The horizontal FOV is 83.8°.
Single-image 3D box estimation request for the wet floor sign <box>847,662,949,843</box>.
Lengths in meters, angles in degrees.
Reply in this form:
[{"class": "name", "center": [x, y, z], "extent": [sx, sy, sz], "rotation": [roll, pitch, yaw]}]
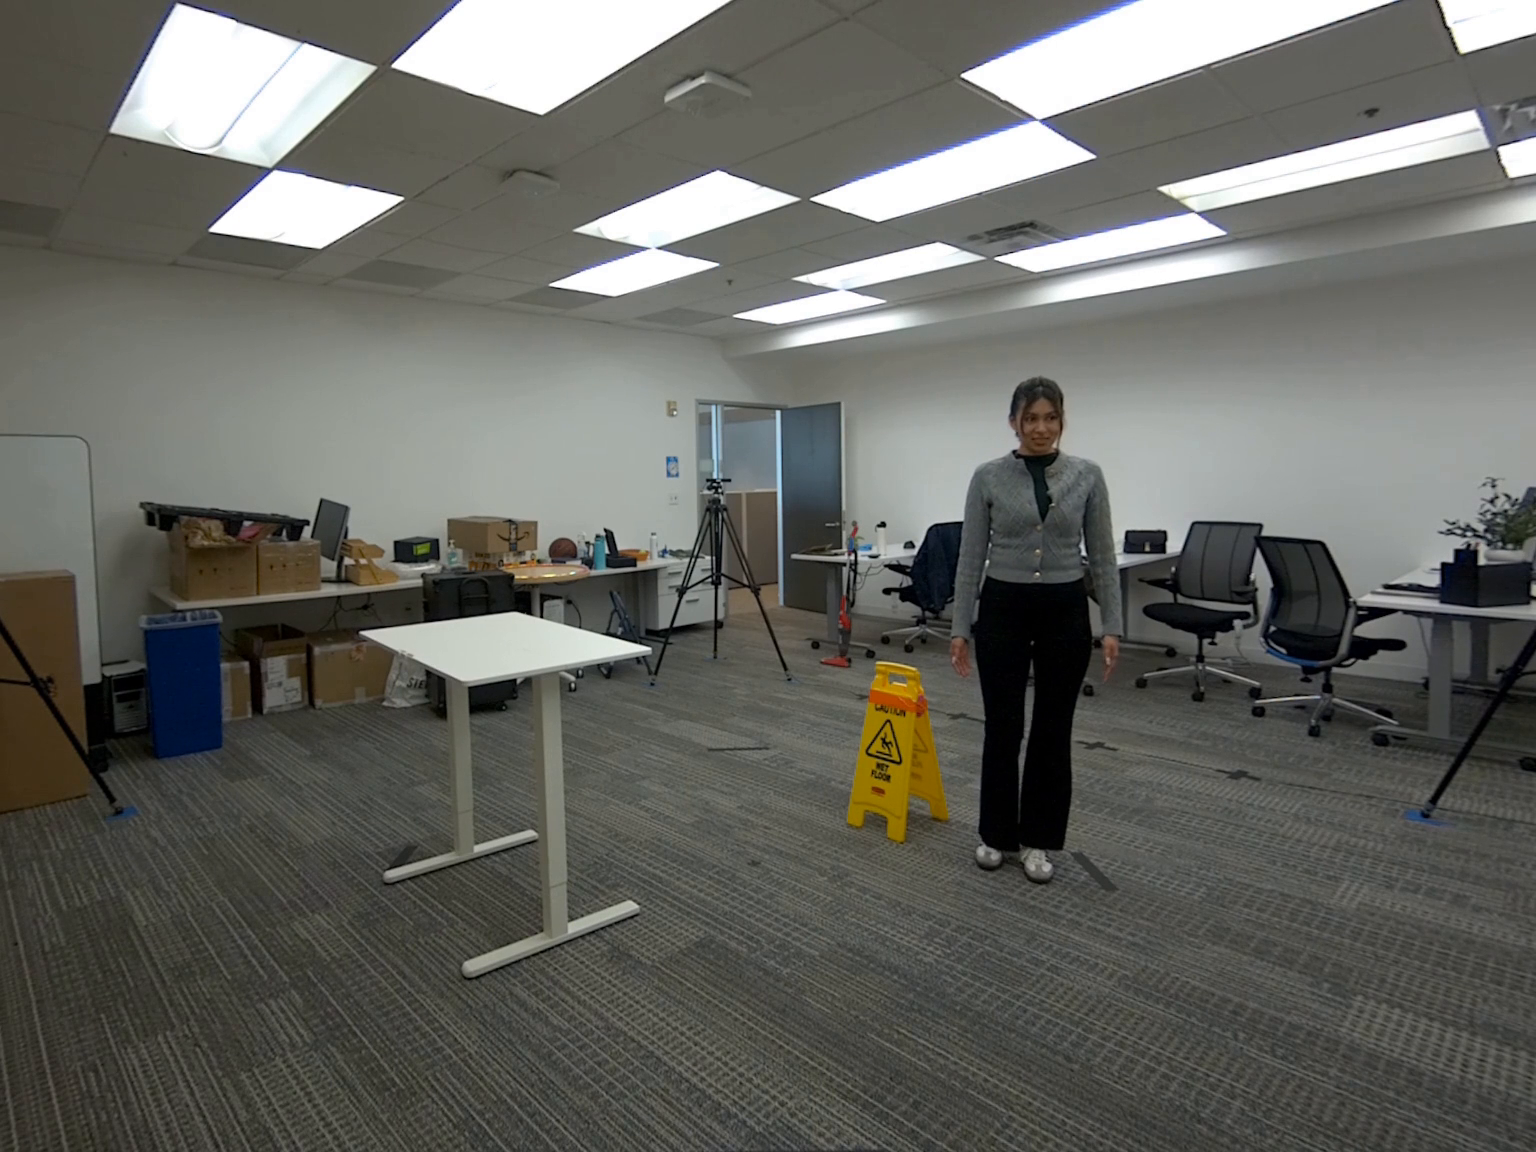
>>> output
[{"class": "wet floor sign", "center": [0.520, 0.677, 3.439], "extent": [0.282, 0.644, 0.291], "rotation": [-4, 5, -44]}]
